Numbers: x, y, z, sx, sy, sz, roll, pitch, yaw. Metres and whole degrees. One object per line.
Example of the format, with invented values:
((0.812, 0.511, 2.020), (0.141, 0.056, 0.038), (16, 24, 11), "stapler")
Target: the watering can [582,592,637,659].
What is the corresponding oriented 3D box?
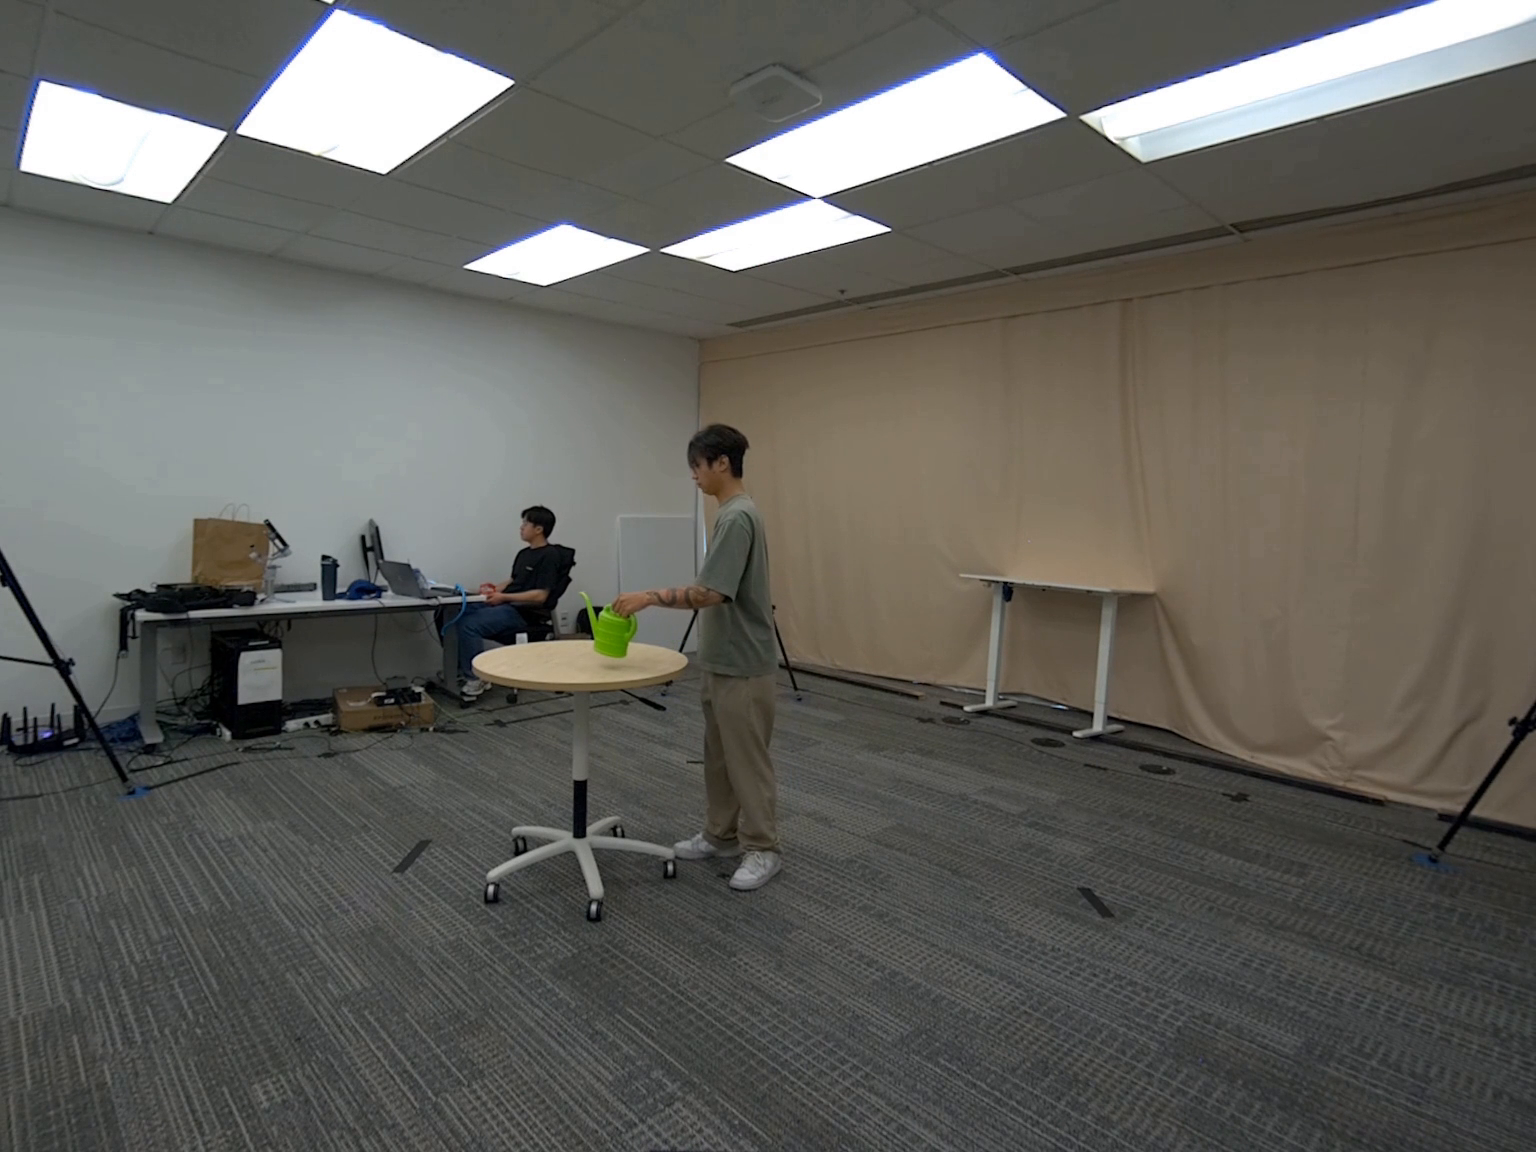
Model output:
((-0.567, 0.177, 2.938), (0.286, 0.176, 0.095), (16, 8, 43), "watering can")
